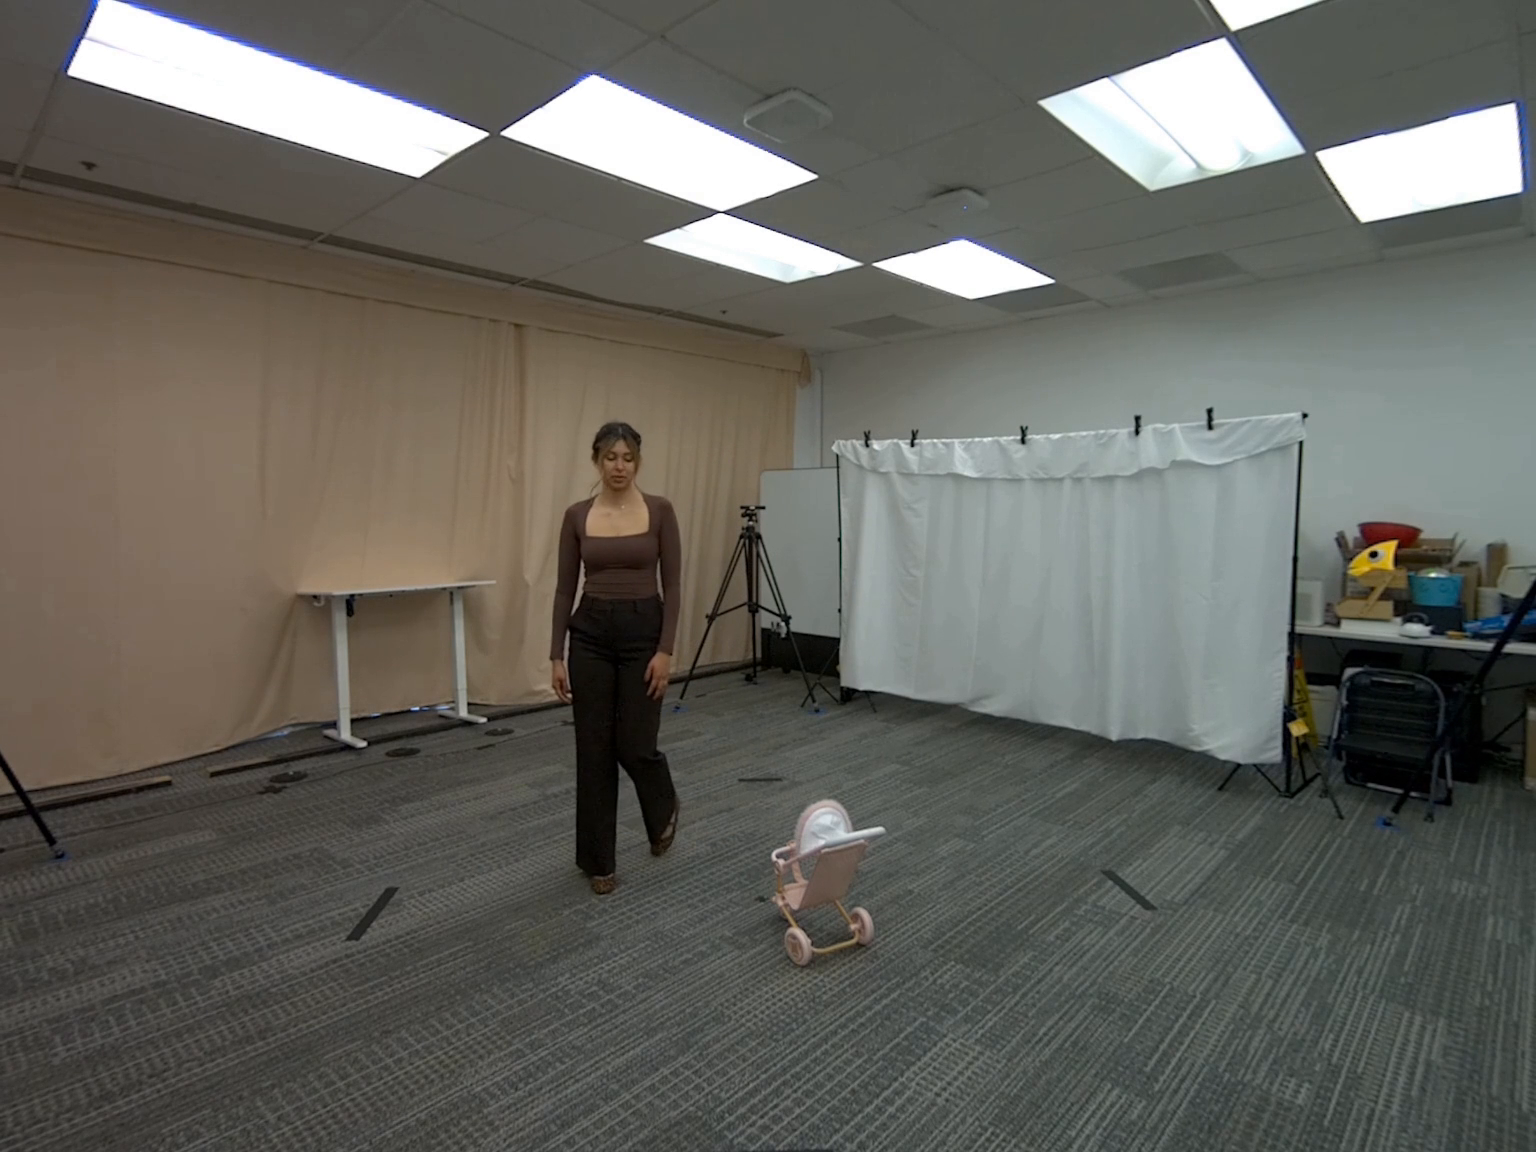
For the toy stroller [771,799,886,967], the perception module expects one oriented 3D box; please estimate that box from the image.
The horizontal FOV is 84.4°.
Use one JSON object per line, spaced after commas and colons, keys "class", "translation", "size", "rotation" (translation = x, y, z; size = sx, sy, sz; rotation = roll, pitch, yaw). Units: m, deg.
{"class": "toy stroller", "translation": [0.167, 0.943, 2.664], "size": [0.274, 0.531, 0.353], "rotation": [-2, 19, -28]}
